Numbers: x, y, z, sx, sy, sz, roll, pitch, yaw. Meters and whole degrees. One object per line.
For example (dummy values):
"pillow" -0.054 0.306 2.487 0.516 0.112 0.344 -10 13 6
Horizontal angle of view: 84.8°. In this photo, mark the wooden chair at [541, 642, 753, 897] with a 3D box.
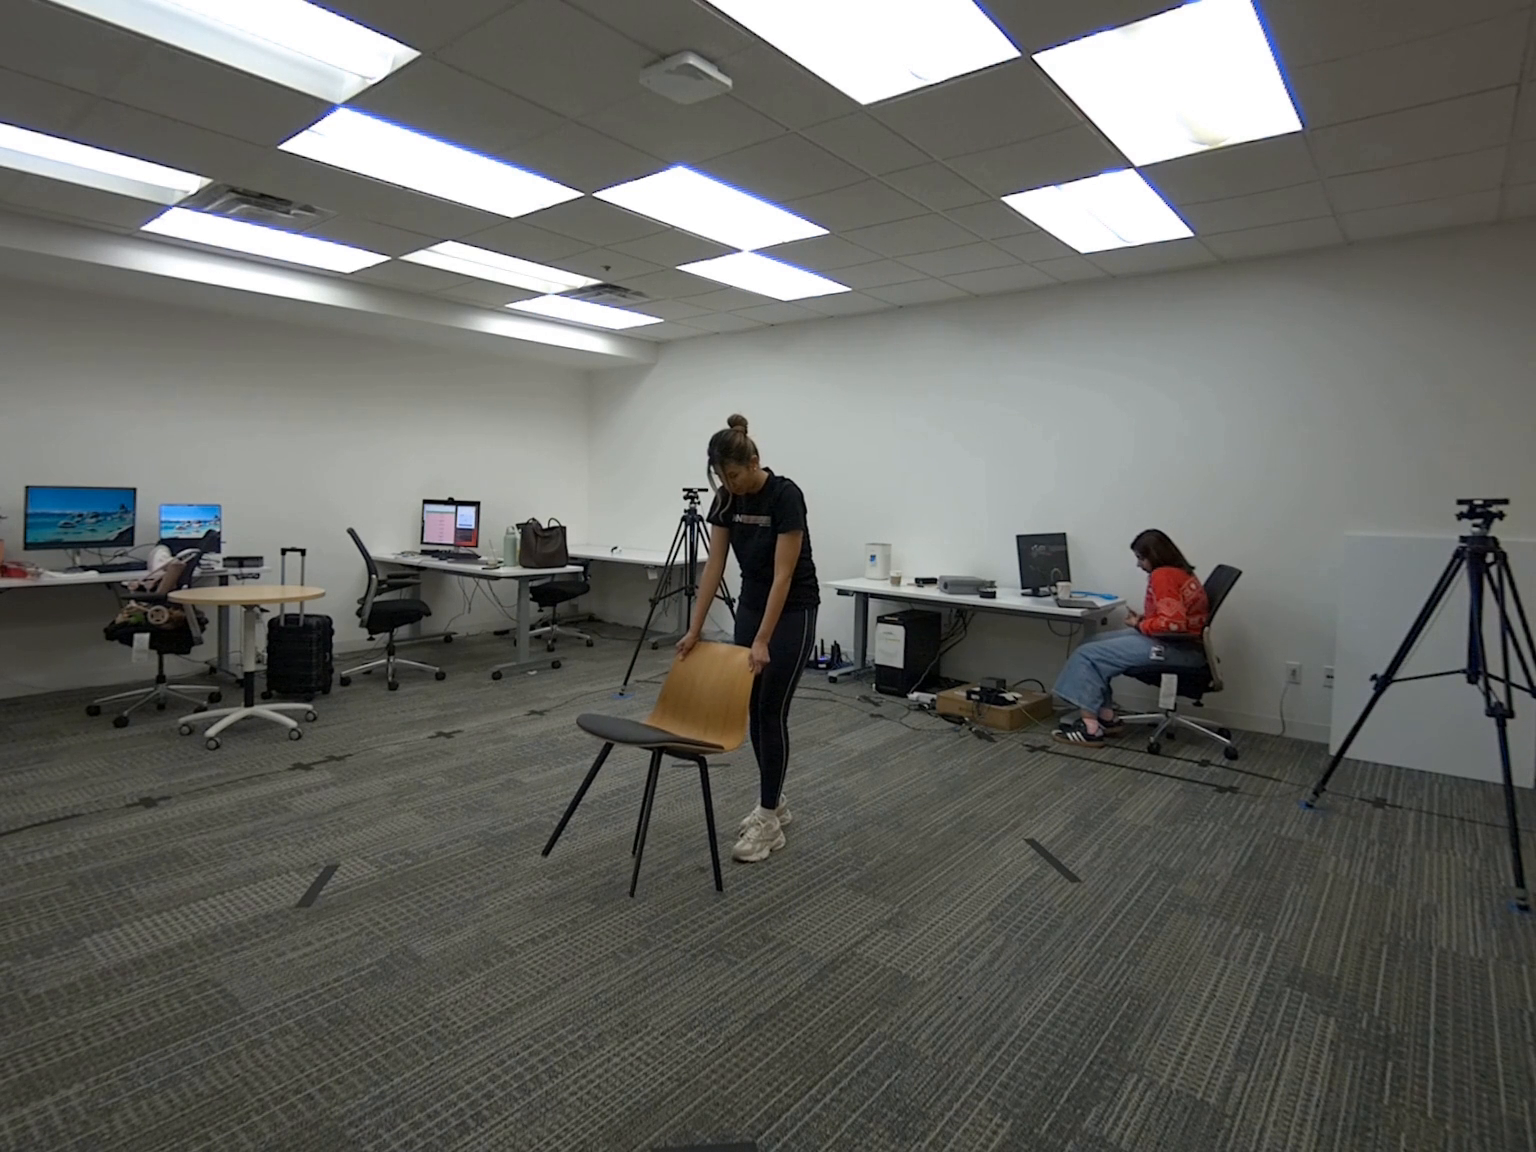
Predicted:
"wooden chair" -0.396 0.605 2.977 0.494 0.885 0.501 3 -17 40
